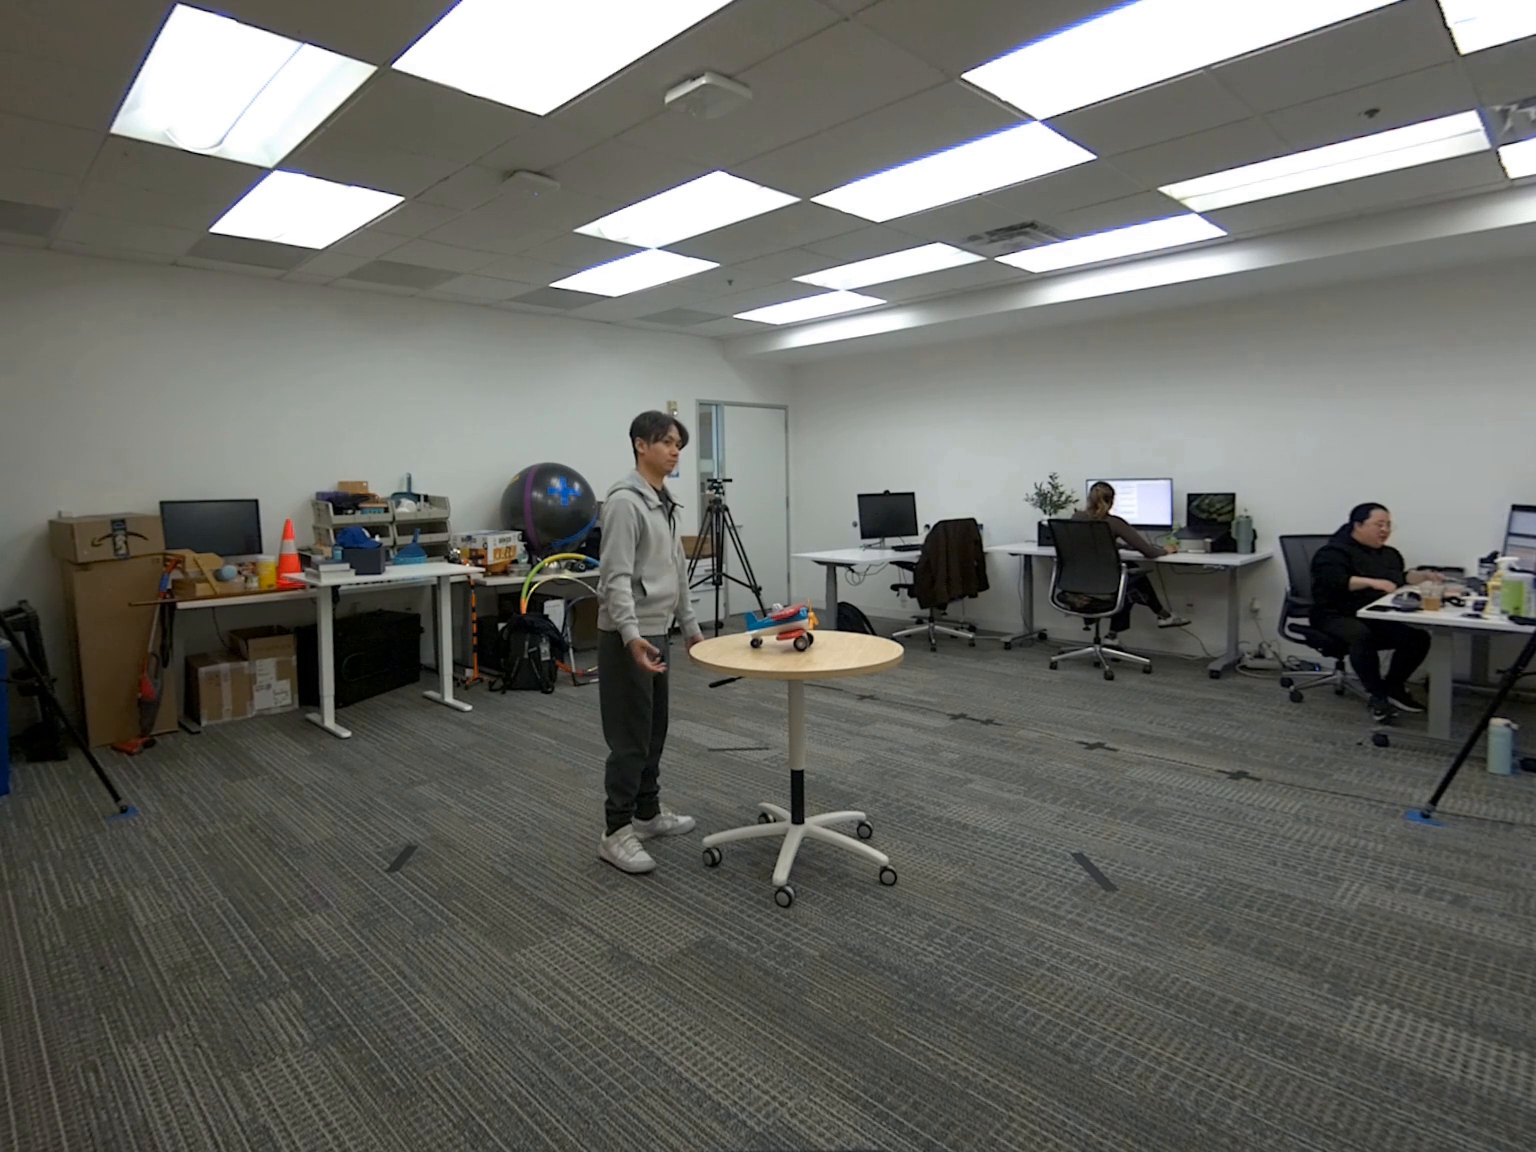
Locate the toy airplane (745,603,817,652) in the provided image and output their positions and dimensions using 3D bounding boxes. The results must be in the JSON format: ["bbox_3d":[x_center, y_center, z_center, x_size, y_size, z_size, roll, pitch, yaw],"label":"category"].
[{"bbox_3d":[0.037,0.188,3.070,0.256,0.156,0.255,-3,4,-13],"label":"toy airplane"}]
